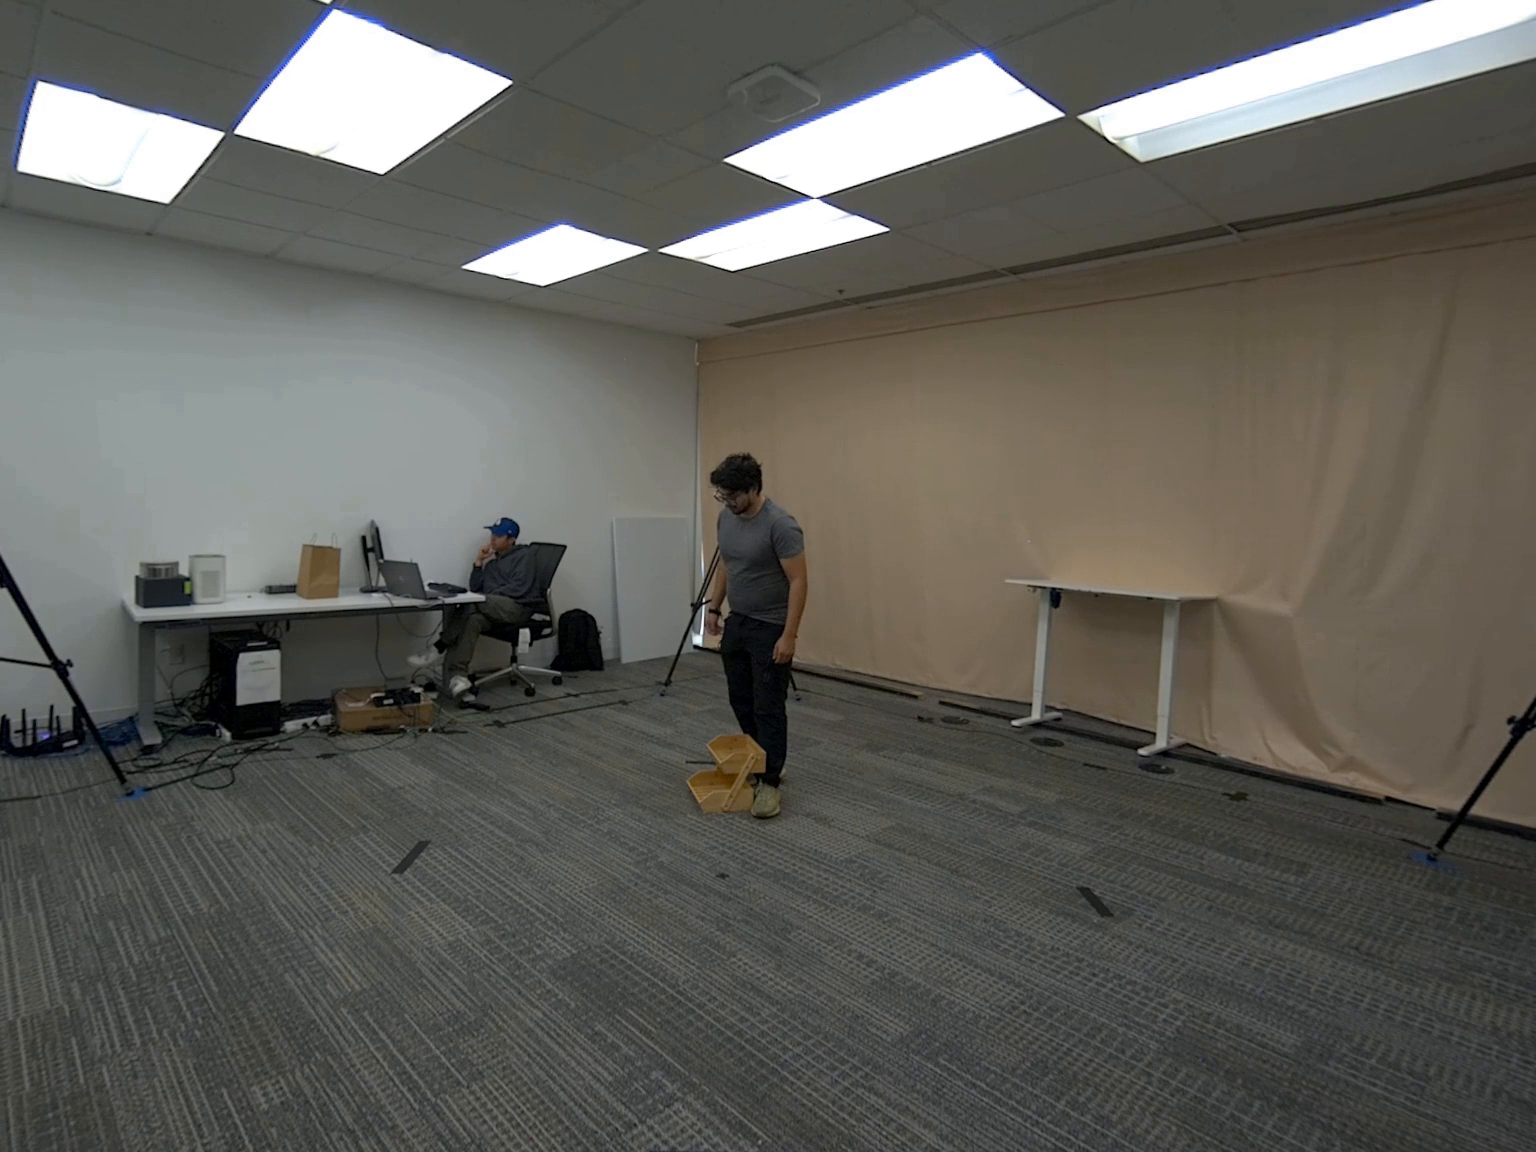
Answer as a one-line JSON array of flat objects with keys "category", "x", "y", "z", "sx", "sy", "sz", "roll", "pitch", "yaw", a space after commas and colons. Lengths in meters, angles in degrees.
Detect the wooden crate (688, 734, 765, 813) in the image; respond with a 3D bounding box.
[{"category": "wooden crate", "x": -0.213, "y": 0.903, "z": 3.900, "sx": 0.298, "sy": 0.273, "sz": 0.329, "roll": 2, "pitch": 4, "yaw": -16}]
